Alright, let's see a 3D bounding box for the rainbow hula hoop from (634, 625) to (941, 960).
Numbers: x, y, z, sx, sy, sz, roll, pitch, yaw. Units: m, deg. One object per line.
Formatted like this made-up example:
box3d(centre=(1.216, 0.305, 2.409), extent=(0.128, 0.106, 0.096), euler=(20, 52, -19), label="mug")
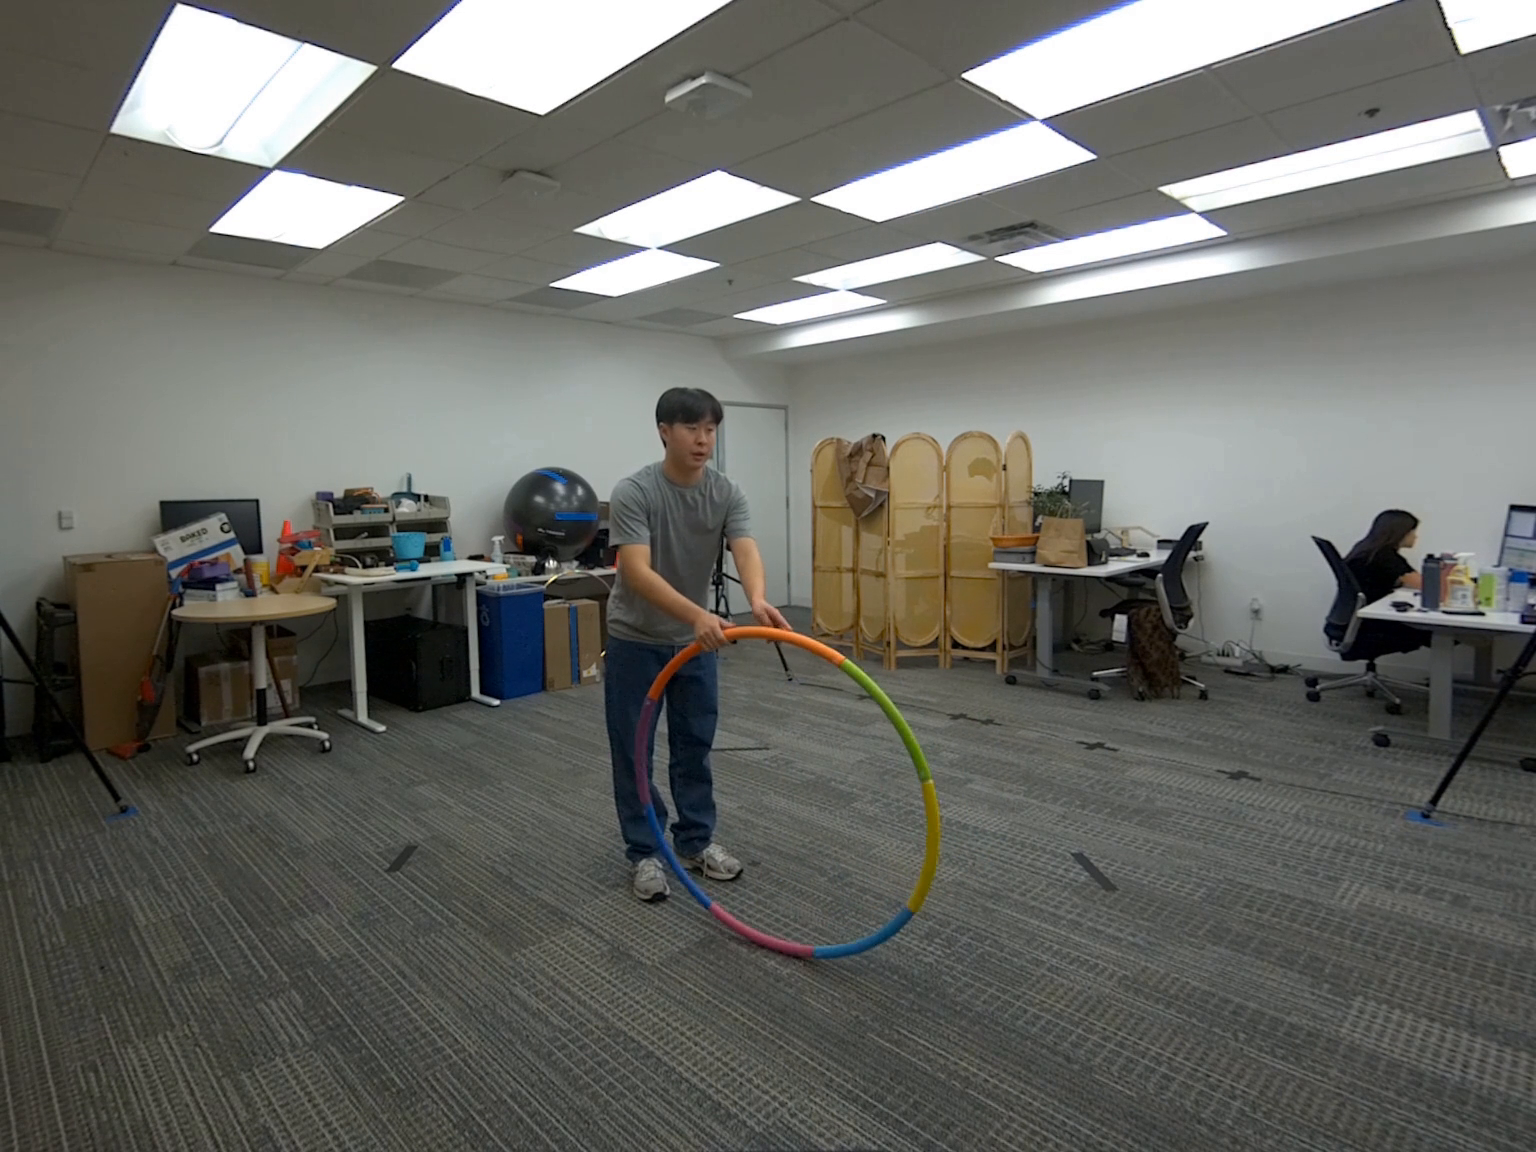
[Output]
box3d(centre=(0.010, 0.633, 2.483), extent=(1.005, 0.973, 0.035), euler=(2, 7, 32), label="rainbow hula hoop")
